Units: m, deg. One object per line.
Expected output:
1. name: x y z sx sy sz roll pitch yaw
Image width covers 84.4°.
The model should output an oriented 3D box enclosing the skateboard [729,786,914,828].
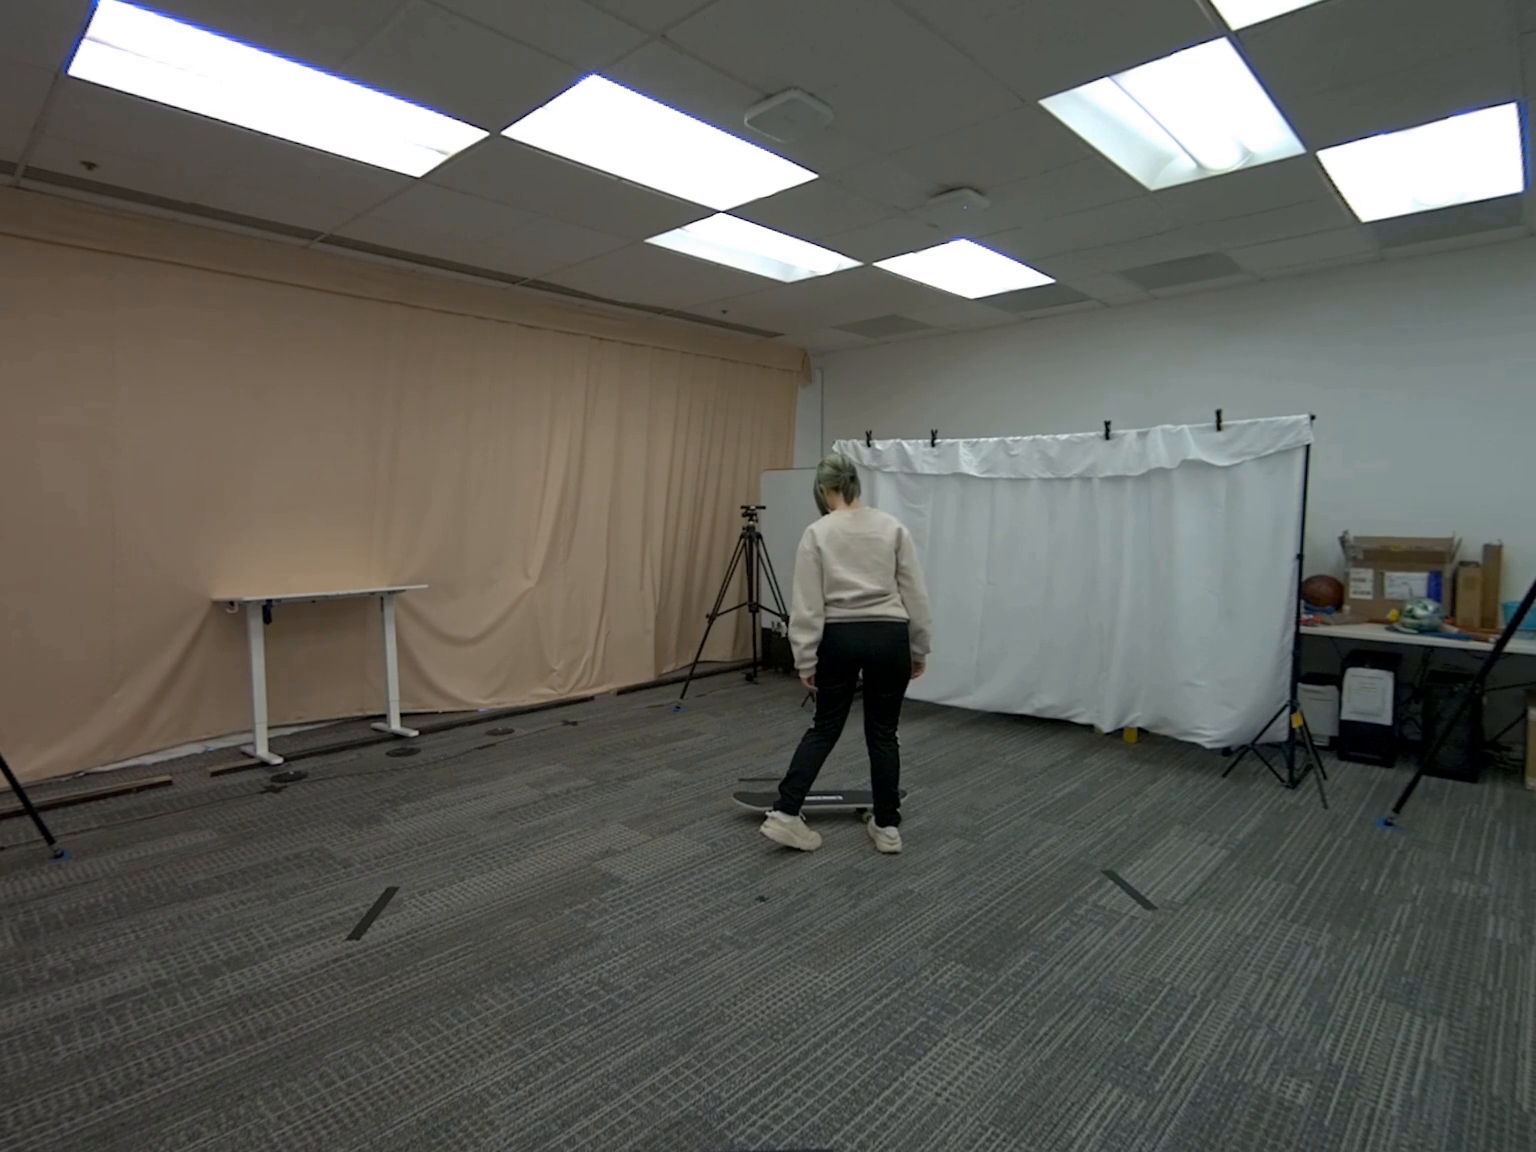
1. skateboard: 0.227 1.018 3.753 0.782 0.110 0.194 0 3 -4
